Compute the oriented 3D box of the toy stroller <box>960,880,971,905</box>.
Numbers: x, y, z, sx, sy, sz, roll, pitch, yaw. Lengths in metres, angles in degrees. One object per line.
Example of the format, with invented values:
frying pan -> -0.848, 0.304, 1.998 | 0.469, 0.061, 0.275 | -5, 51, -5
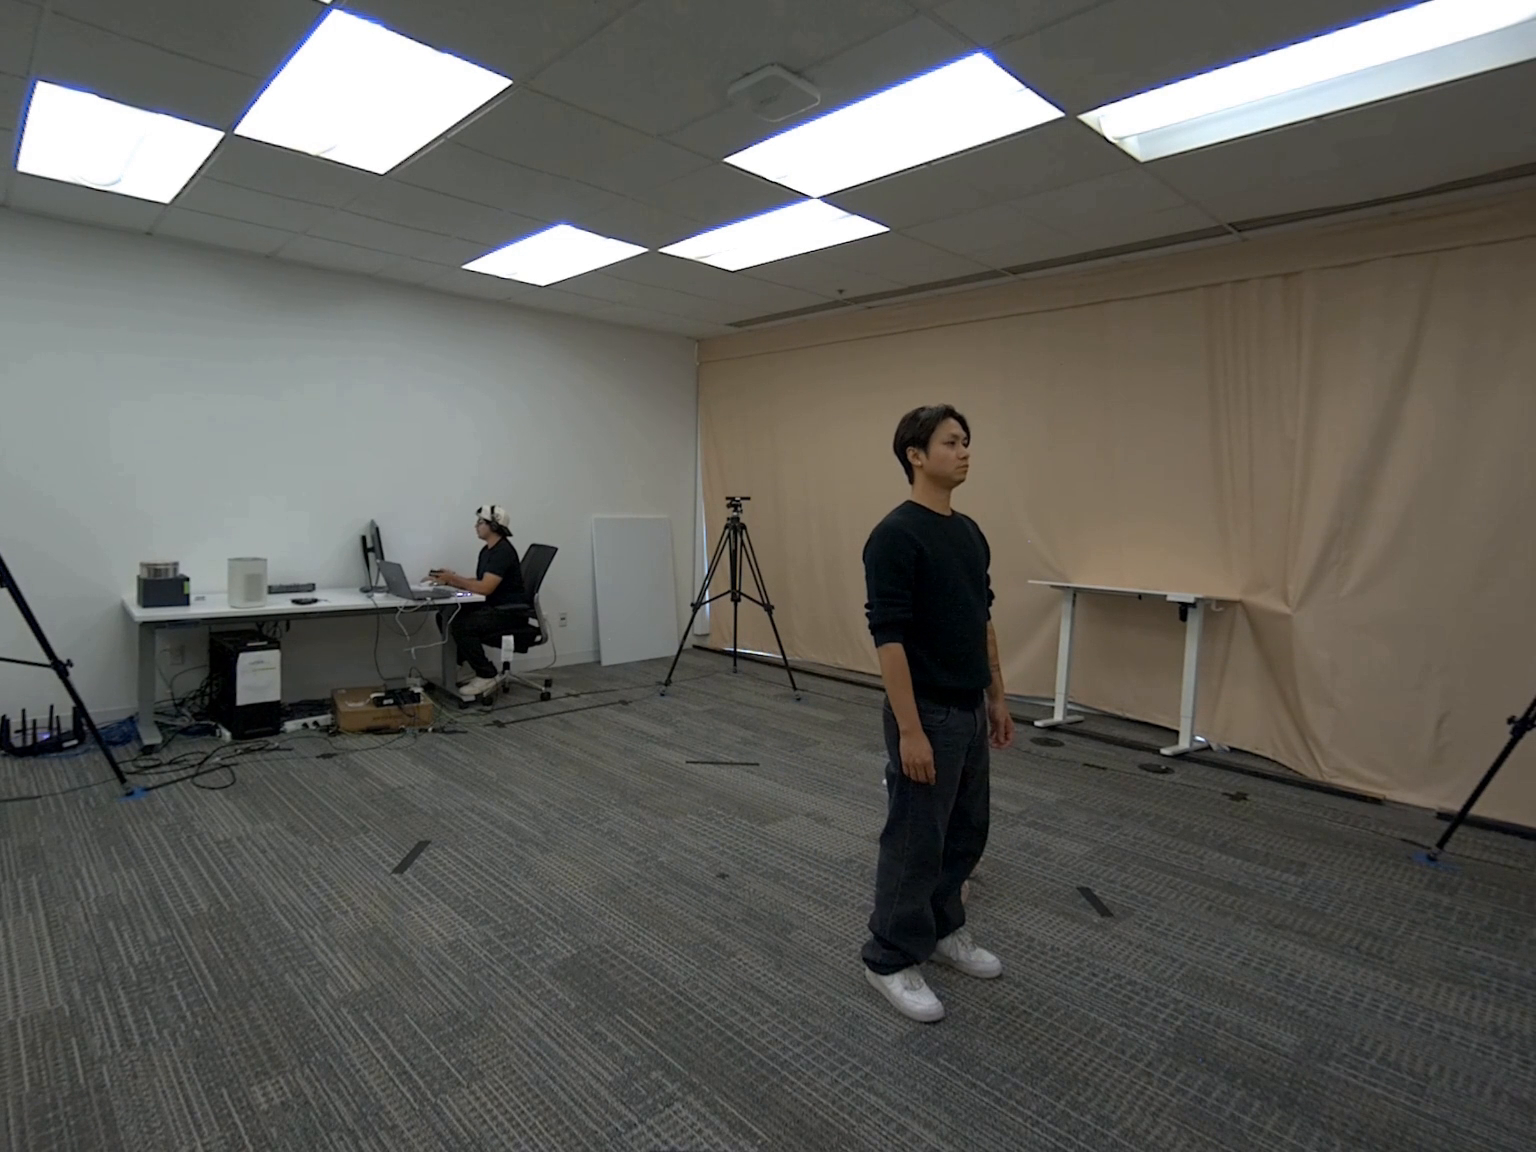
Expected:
toy stroller -> 0.621, 0.910, 3.018 | 0.337, 0.529, 0.288 | -21, 16, -33
